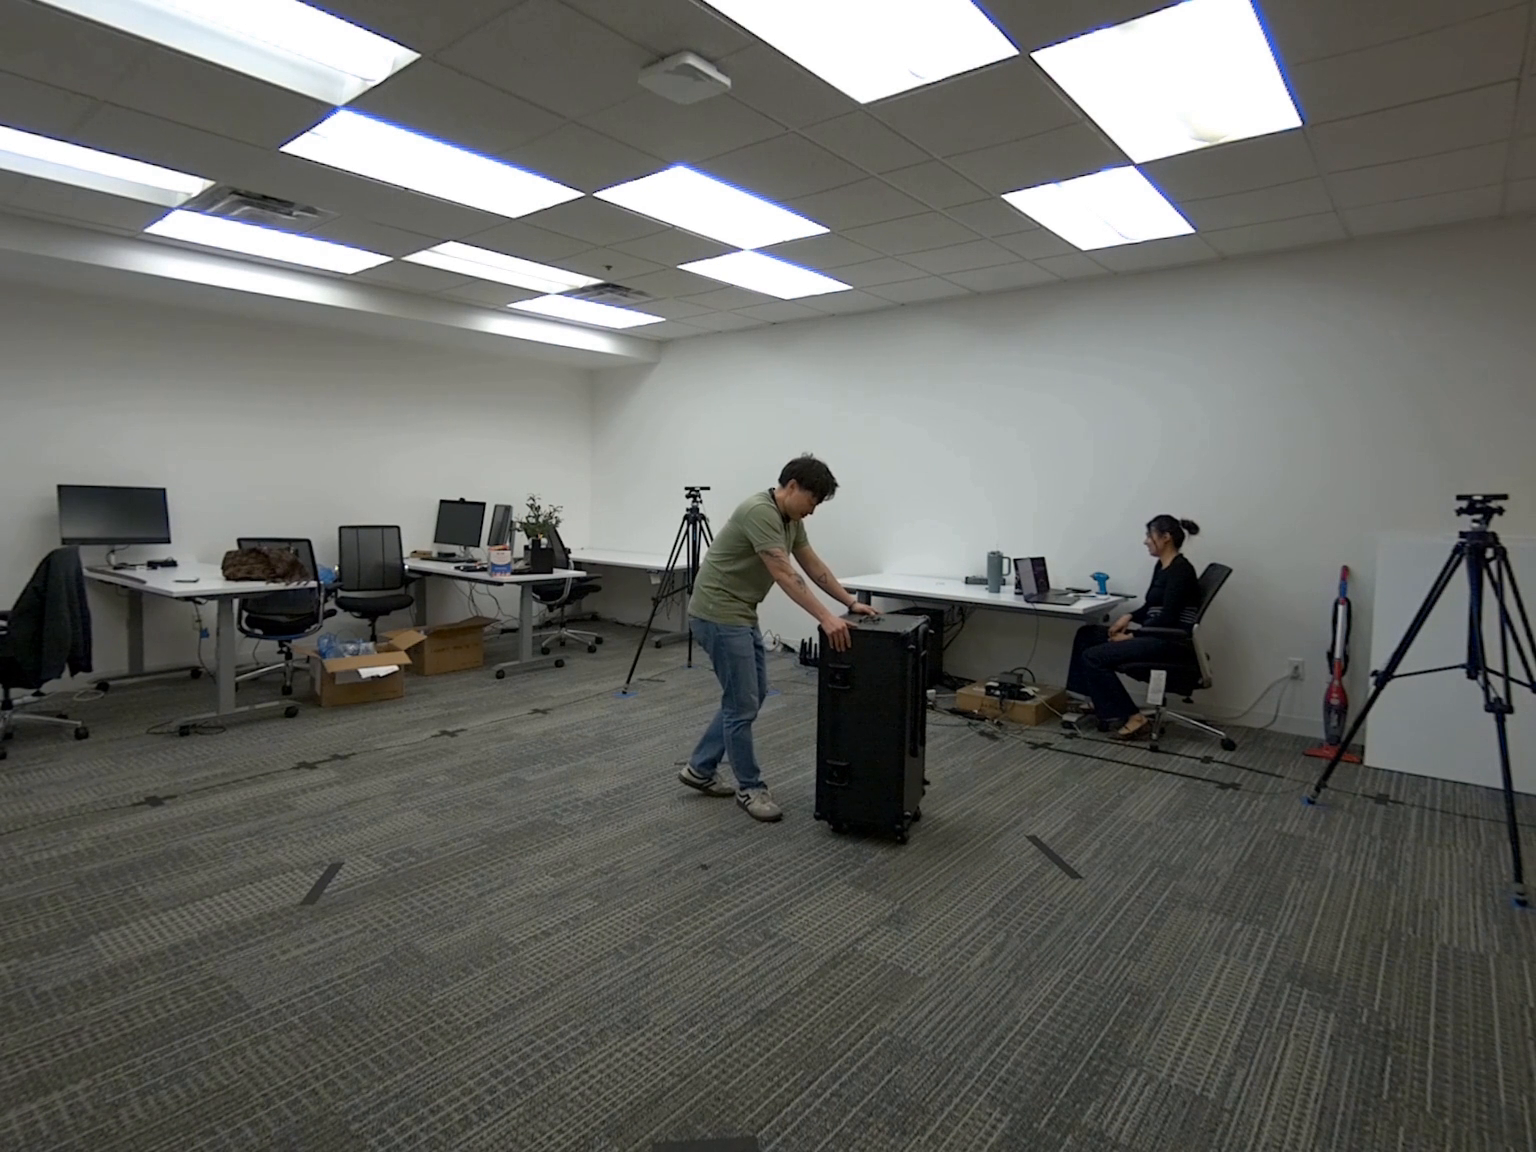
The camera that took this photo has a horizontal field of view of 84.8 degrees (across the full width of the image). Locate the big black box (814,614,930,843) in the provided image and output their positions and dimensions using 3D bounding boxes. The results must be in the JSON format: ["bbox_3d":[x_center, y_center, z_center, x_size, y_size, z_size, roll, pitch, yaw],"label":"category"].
[{"bbox_3d":[0.448,0.604,3.538,0.406,0.859,0.510,3,4,22],"label":"big black box"}]
